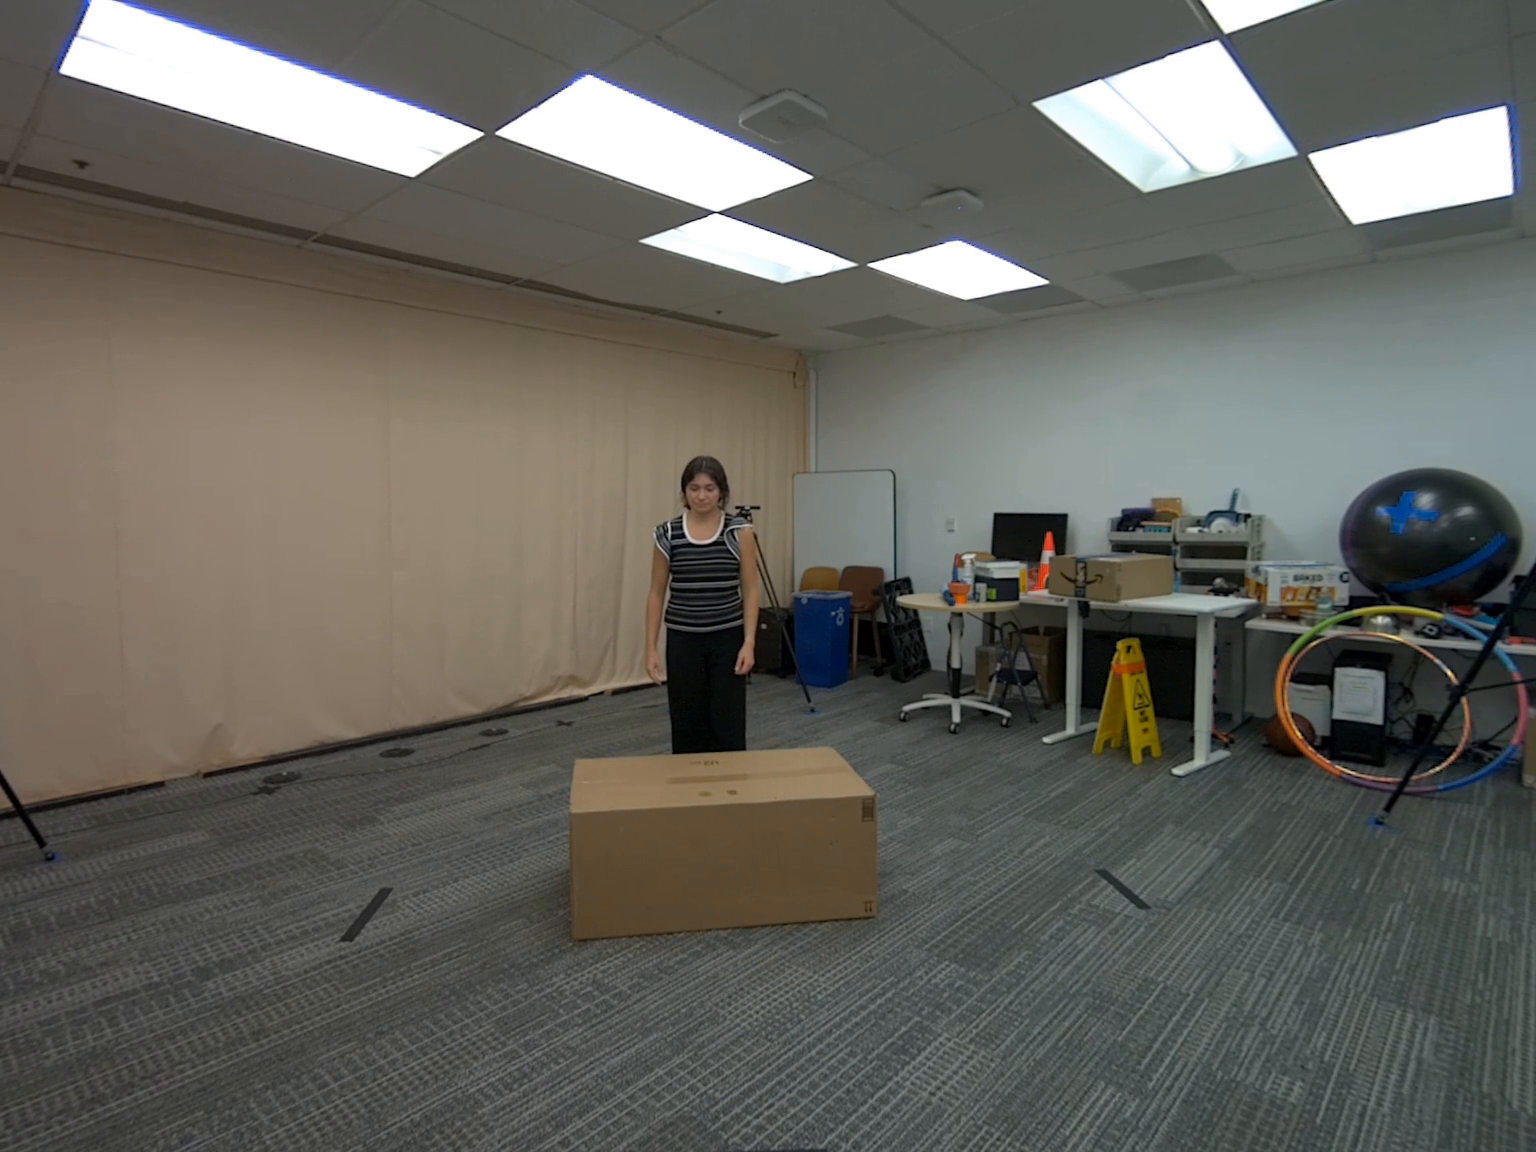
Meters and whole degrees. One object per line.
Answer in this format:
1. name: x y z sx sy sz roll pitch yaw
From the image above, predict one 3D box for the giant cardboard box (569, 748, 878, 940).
1. giant cardboard box: -0.187 0.930 3.040 1.016 0.425 0.584 -1 4 -9
